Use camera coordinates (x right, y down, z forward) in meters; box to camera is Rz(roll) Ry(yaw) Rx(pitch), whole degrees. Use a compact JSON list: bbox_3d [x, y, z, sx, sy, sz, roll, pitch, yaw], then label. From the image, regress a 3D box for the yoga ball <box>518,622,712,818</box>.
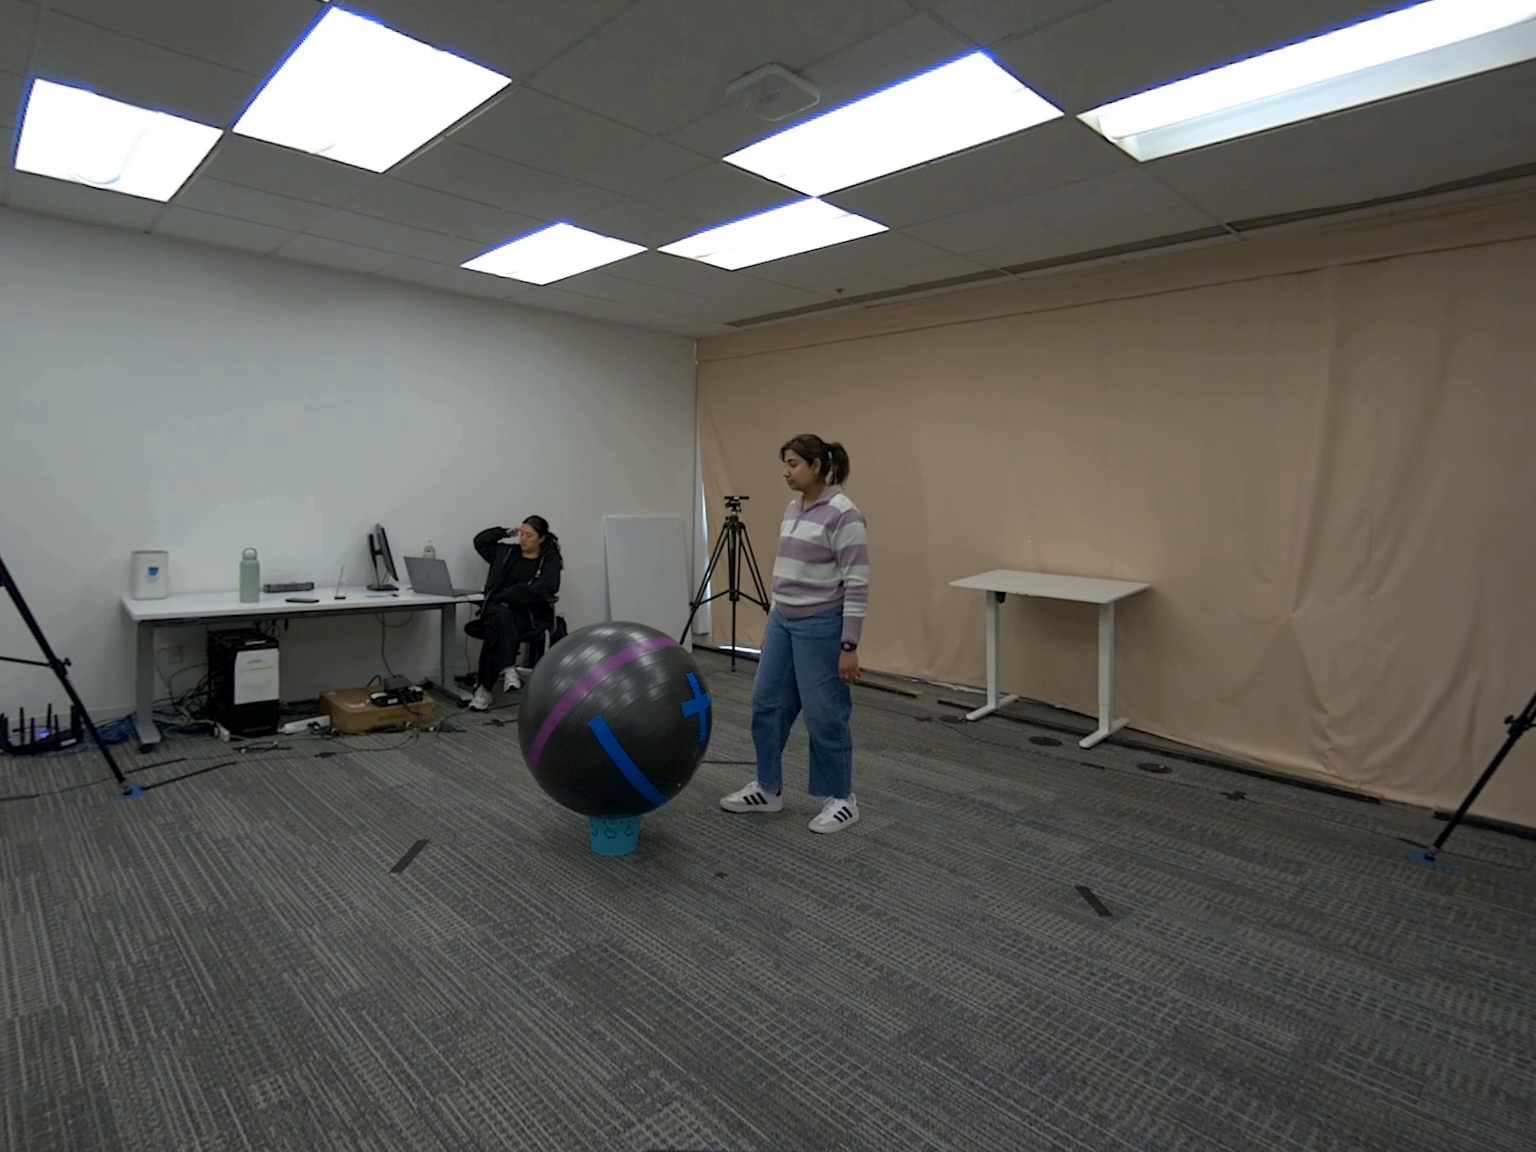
[{"bbox_3d":[-0.608,0.563,3.318,0.757,0.756,0.761,1,4,-1],"label":"yoga ball"}]
